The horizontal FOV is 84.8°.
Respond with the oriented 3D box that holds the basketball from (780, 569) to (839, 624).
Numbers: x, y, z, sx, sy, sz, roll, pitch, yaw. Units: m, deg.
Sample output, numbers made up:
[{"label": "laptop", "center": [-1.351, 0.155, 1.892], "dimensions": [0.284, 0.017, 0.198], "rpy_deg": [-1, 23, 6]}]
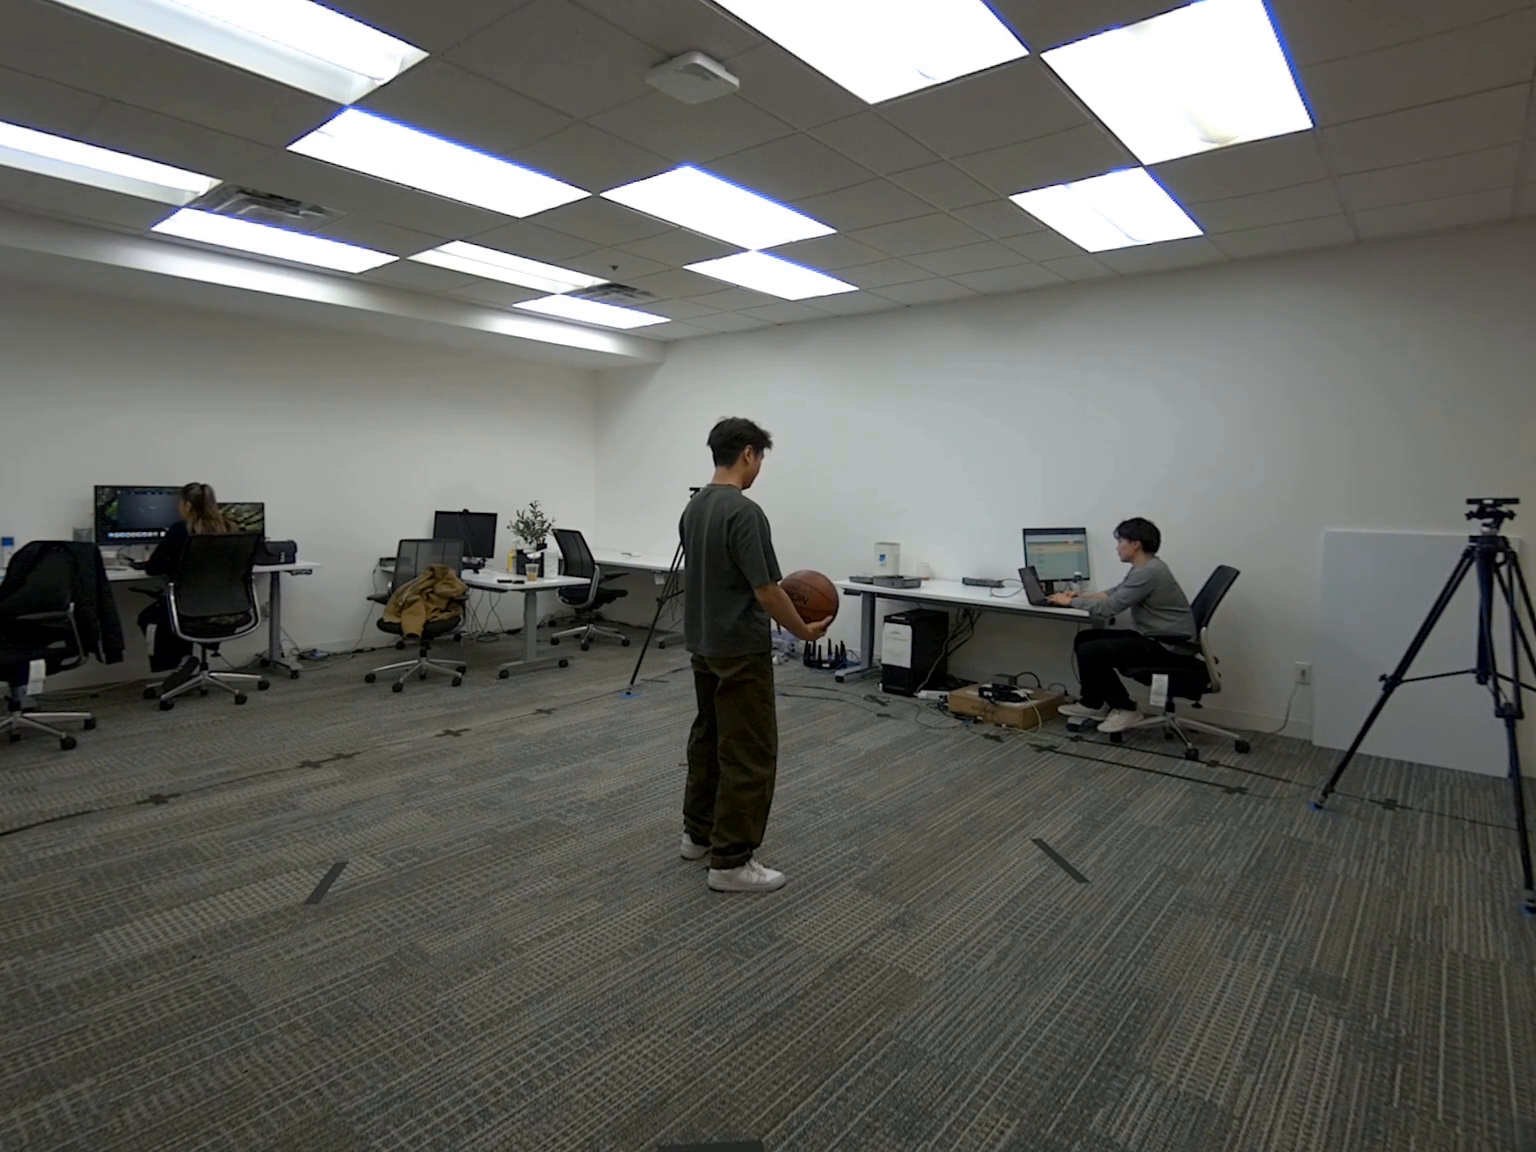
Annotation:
[{"label": "basketball", "center": [0.129, 0.094, 3.148], "dimensions": [0.235, 0.235, 0.237], "rpy_deg": [1, 4, -2]}]
